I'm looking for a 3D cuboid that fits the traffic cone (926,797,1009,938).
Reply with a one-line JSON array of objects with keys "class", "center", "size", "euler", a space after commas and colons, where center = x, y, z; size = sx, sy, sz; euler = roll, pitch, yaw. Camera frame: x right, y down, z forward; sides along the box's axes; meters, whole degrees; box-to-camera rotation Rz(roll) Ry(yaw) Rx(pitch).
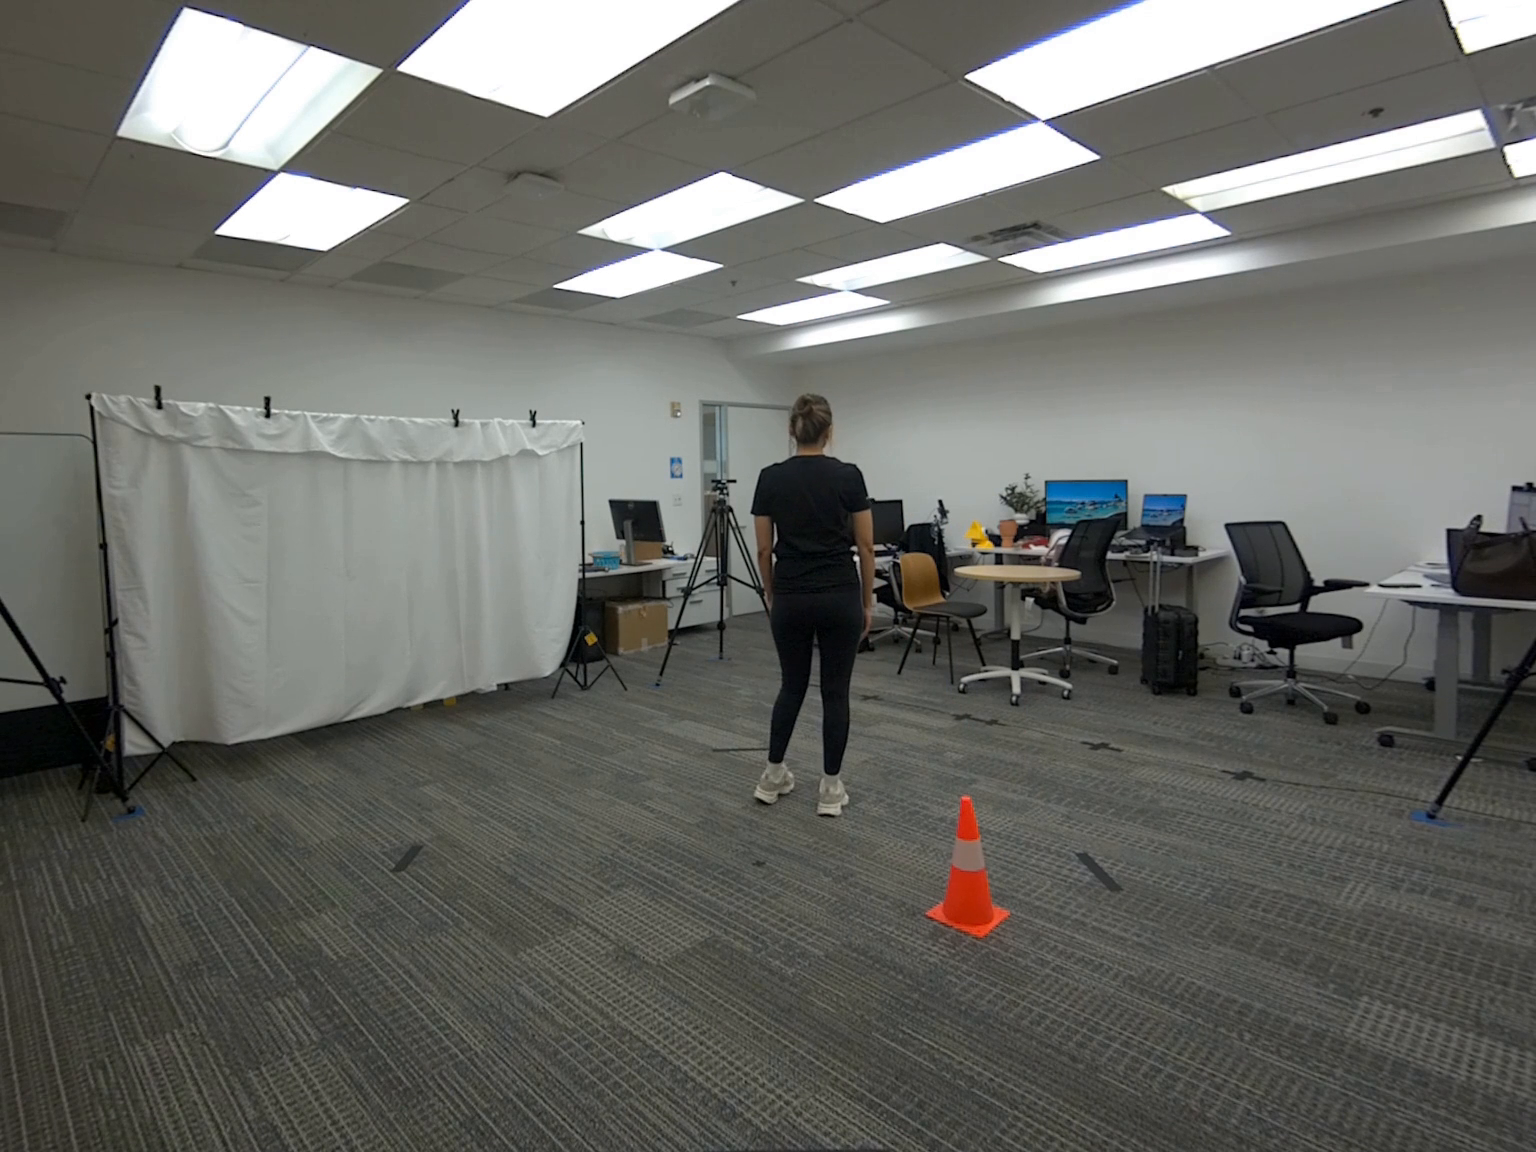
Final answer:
[{"class": "traffic cone", "center": [0.634, 0.889, 2.712], "size": [0.209, 0.382, 0.200], "euler": [1, 5, 45]}]
